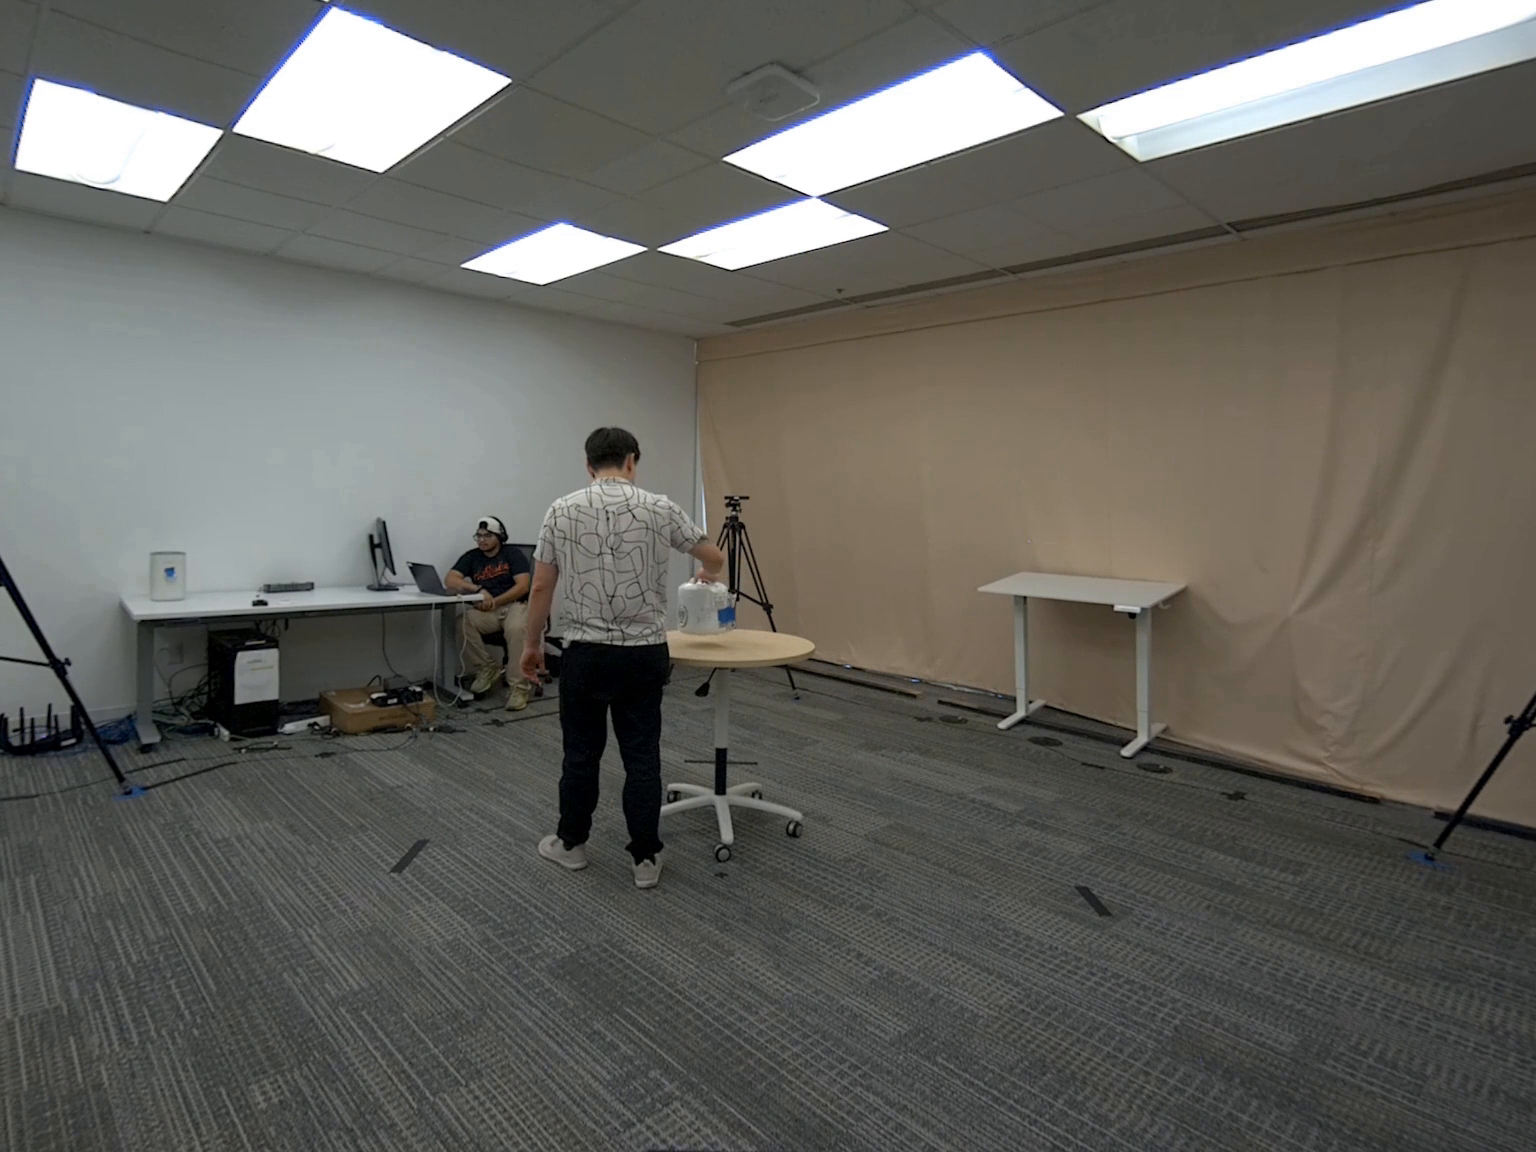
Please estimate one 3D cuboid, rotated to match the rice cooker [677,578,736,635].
[{"bbox_3d":[-0.271,0.120,3.448,0.212,0.232,0.226,0,3,-42],"label":"rice cooker"}]
